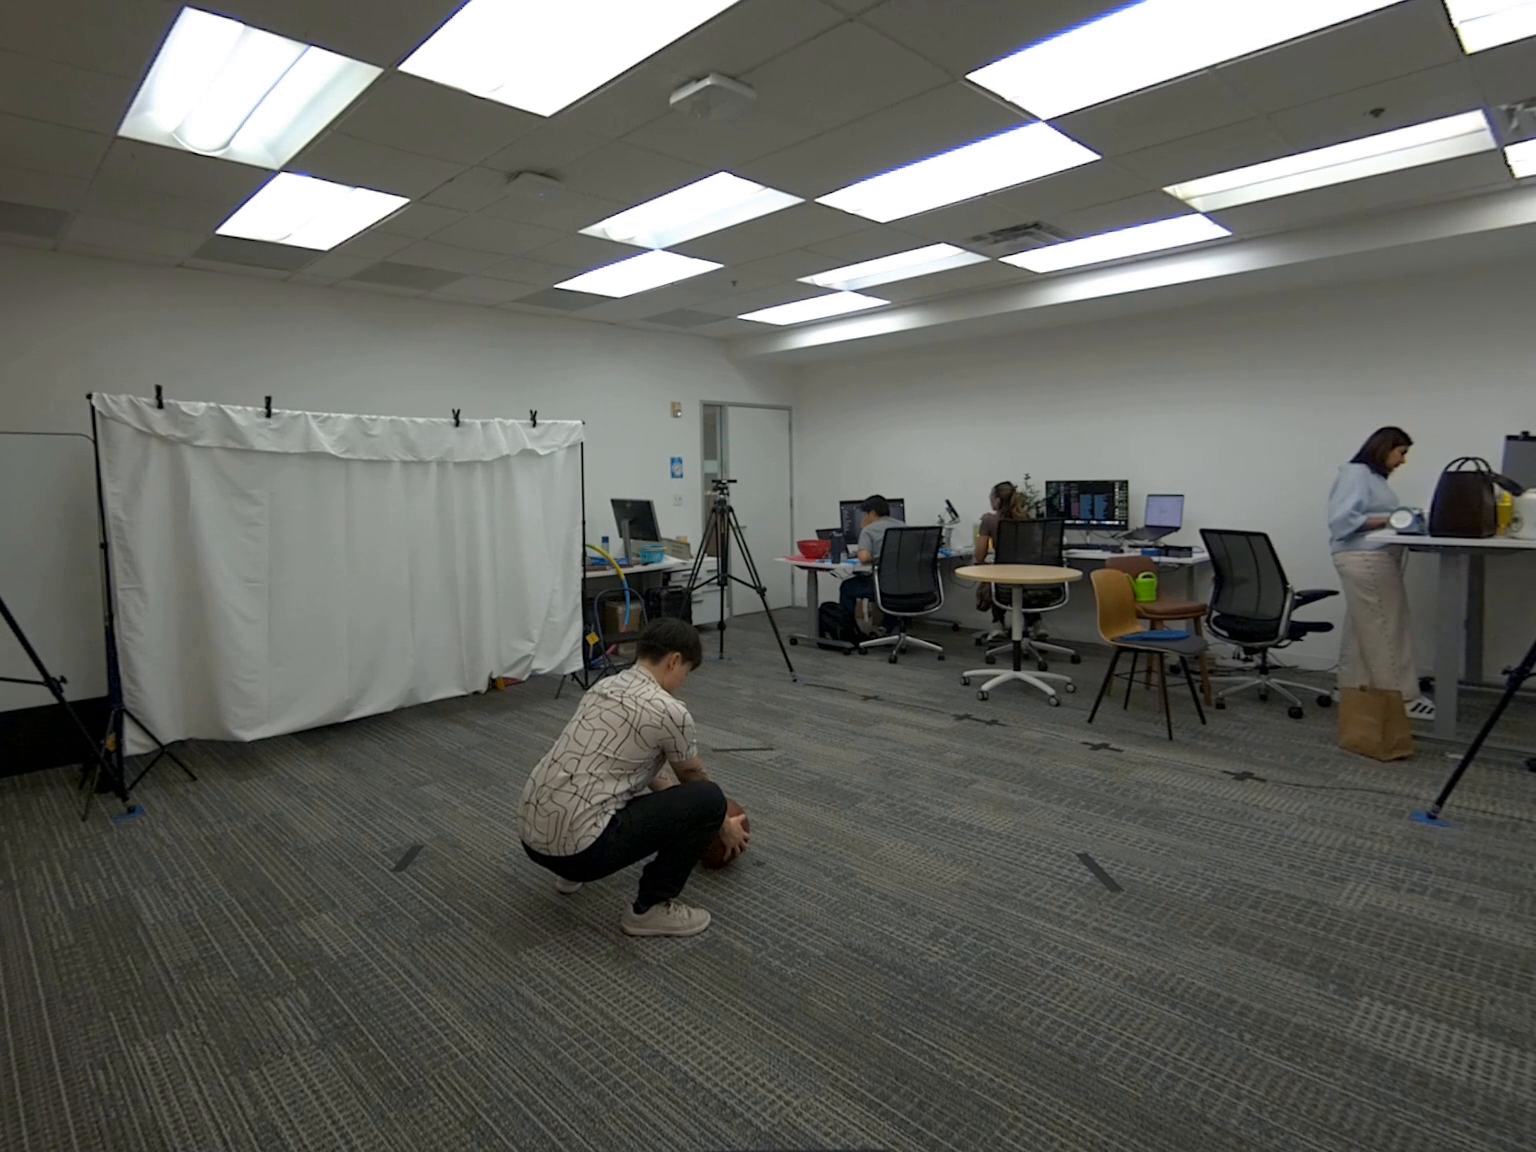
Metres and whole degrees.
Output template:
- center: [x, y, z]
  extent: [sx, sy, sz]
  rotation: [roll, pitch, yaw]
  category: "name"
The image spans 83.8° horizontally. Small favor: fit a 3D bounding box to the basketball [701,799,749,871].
- center: [-0.185, 0.921, 3.122]
  extent: [0.236, 0.235, 0.237]
  rotation: [-1, 5, -2]
  category: "basketball"
